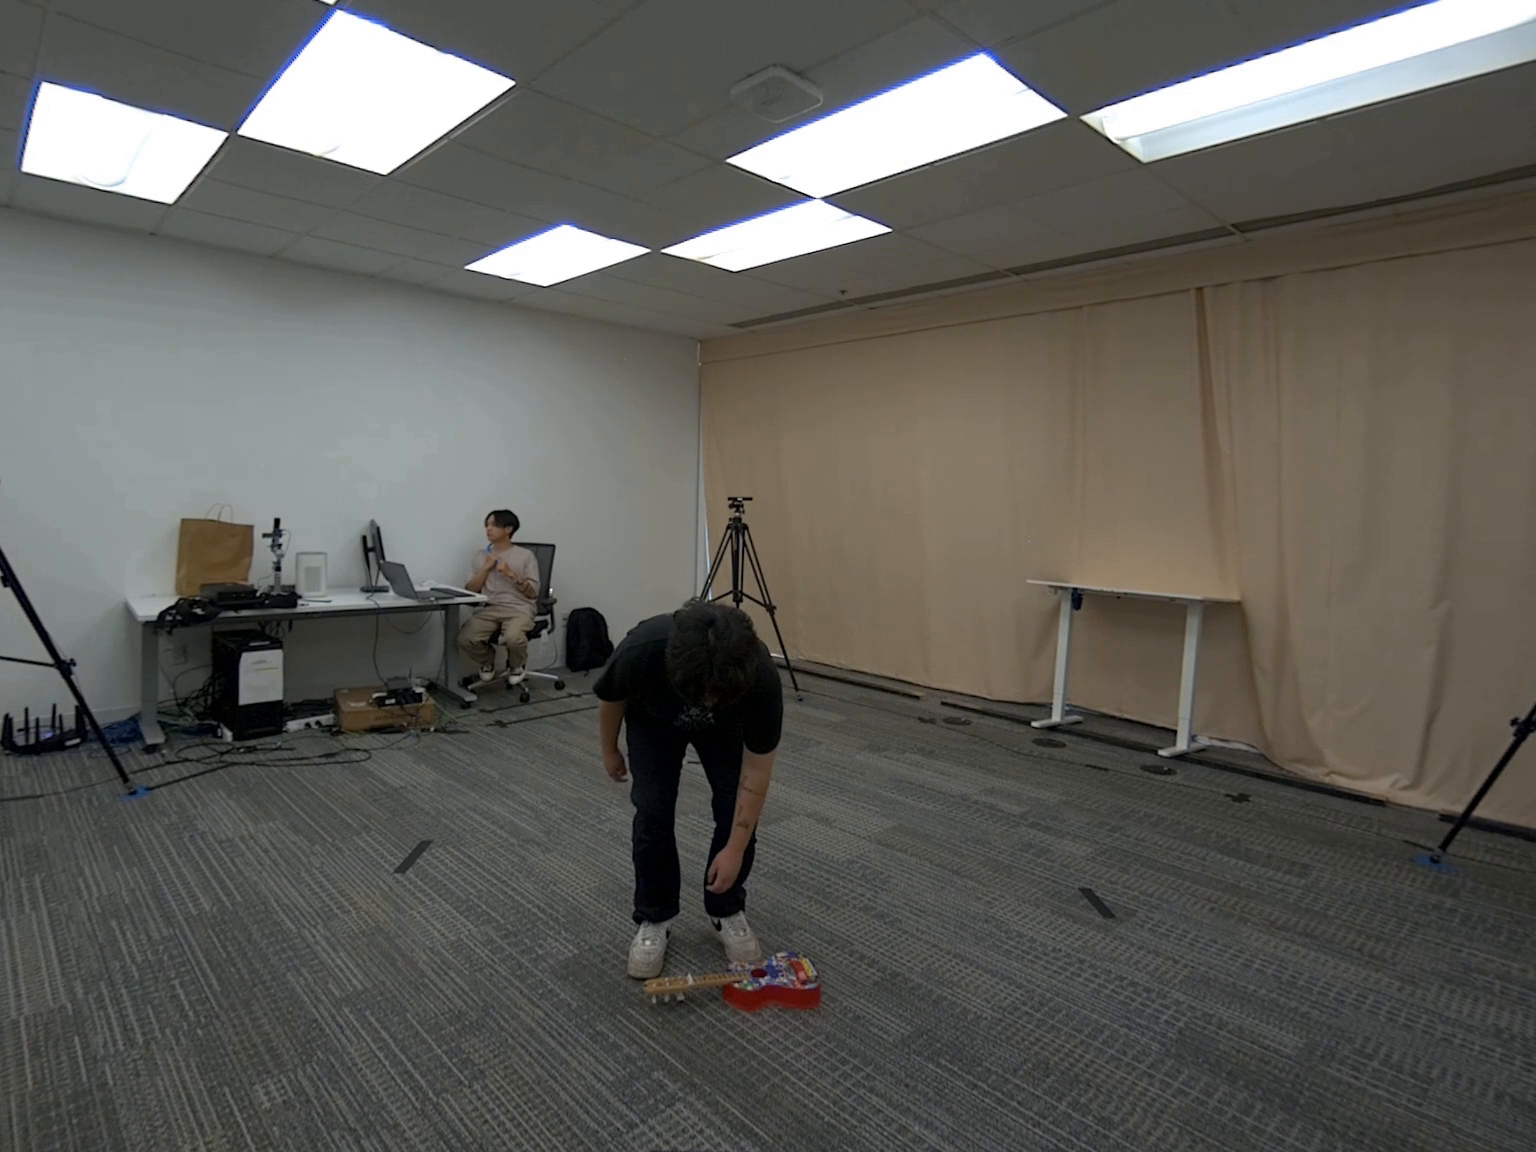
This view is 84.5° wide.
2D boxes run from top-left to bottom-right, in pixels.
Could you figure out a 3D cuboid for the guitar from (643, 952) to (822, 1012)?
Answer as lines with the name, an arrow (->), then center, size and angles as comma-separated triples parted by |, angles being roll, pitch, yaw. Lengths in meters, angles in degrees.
guitar -> -0.108, 1.141, 2.373 | 0.495, 0.070, 0.195 | 2, 6, -7
